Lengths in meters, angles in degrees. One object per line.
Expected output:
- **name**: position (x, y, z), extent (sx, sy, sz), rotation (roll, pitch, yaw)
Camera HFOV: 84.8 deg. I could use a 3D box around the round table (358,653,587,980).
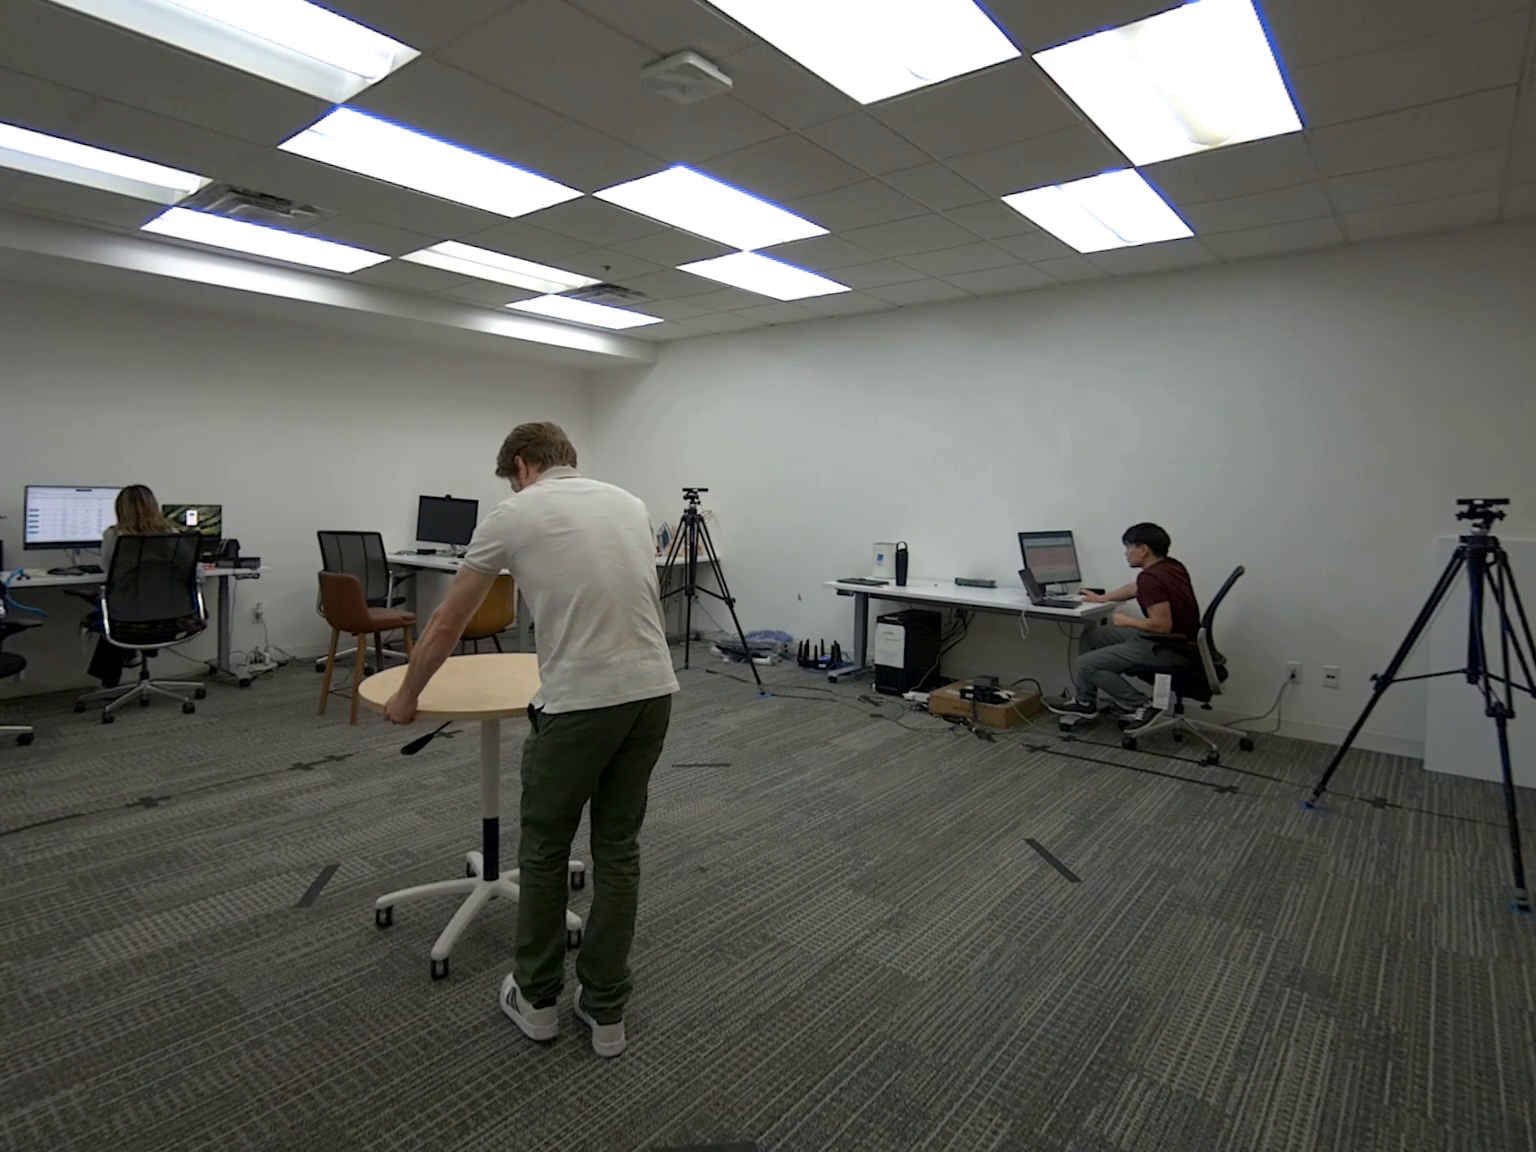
- **round table**: position (-0.877, 0.708, 2.688), extent (0.784, 0.783, 0.789), rotation (0, 5, -2)
